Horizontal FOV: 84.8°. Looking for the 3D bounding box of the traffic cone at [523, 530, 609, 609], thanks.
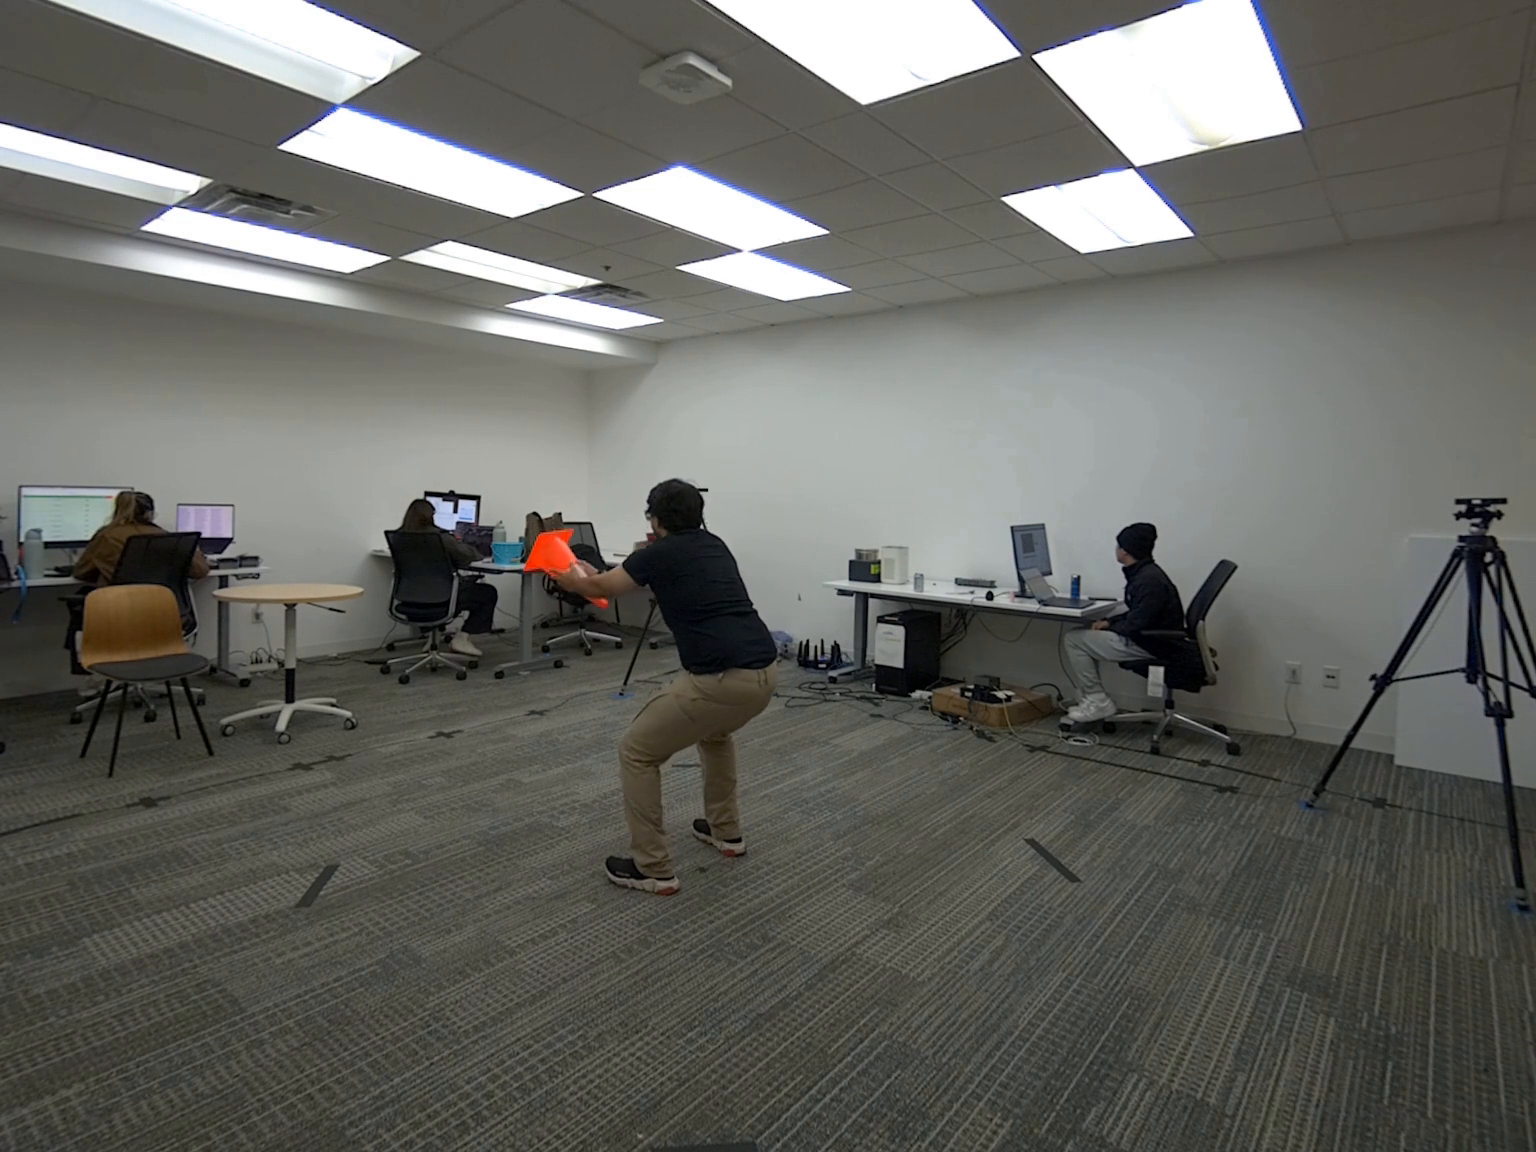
[{"bbox_3d":[-0.808,0.004,3.519,0.396,0.201,0.200,38,26,24],"label":"traffic cone"}]
